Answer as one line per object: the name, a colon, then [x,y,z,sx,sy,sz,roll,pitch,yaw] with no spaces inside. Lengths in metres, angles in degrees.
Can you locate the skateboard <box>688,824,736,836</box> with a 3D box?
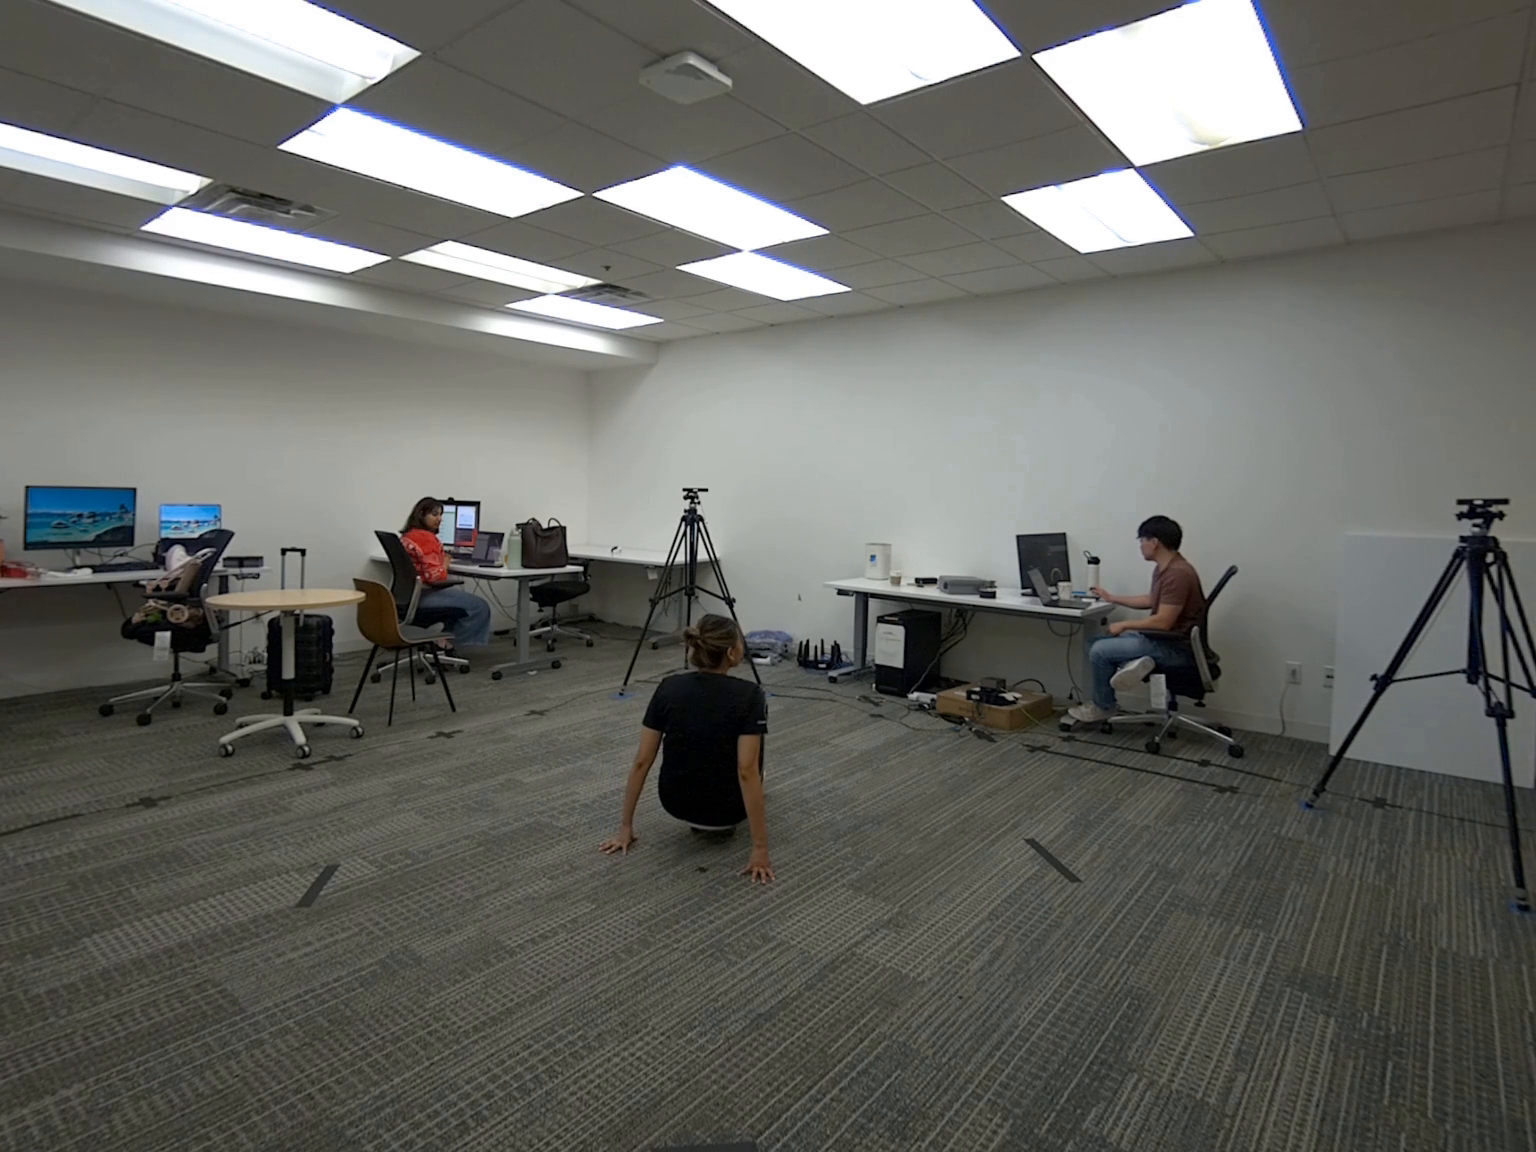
skateboard: [-0.194,0.964,3.635,0.196,0.110,0.780,6,6,8]
